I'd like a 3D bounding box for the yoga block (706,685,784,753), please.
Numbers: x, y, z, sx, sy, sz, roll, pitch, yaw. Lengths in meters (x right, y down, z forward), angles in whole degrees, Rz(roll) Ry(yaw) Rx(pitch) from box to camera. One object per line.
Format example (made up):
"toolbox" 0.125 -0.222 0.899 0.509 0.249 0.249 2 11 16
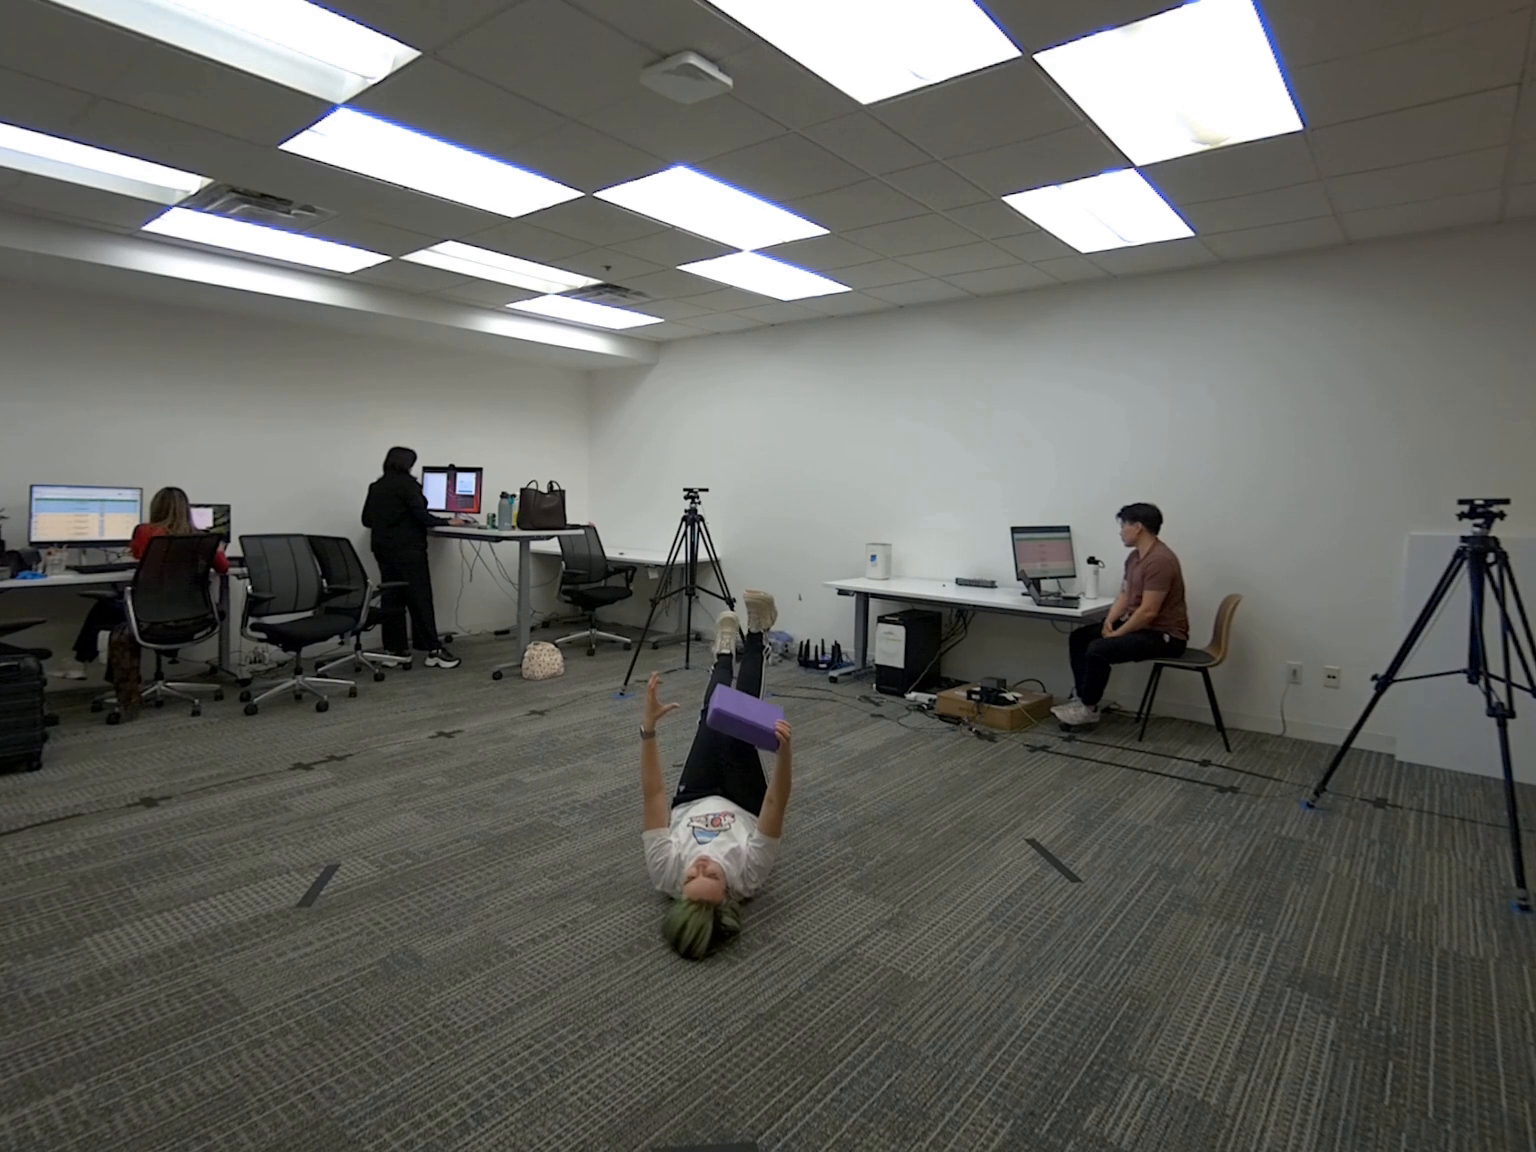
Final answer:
"yoga block" -0.072 0.437 2.623 0.228 0.076 0.151 22 23 -3
